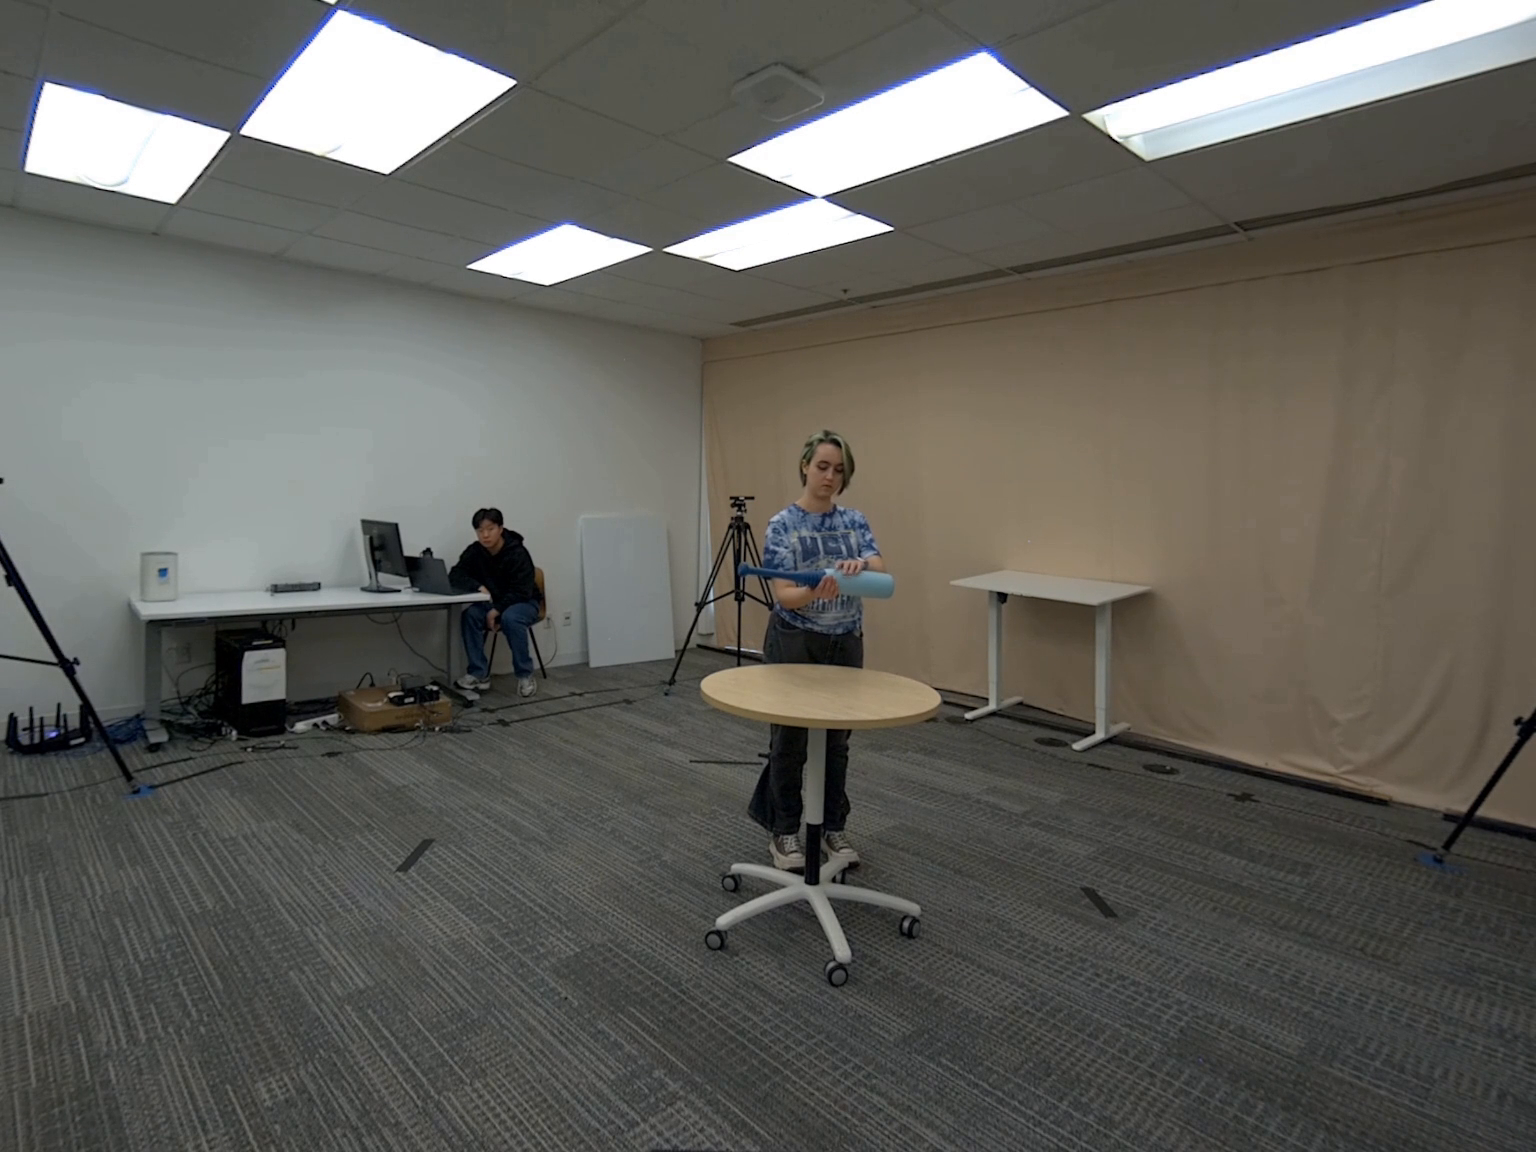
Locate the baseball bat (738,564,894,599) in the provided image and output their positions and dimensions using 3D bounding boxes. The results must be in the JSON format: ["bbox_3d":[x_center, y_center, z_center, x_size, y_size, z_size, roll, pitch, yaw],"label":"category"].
[{"bbox_3d":[0.163,0.017,2.808,0.537,0.089,0.090,4,3,-13],"label":"baseball bat"}]
